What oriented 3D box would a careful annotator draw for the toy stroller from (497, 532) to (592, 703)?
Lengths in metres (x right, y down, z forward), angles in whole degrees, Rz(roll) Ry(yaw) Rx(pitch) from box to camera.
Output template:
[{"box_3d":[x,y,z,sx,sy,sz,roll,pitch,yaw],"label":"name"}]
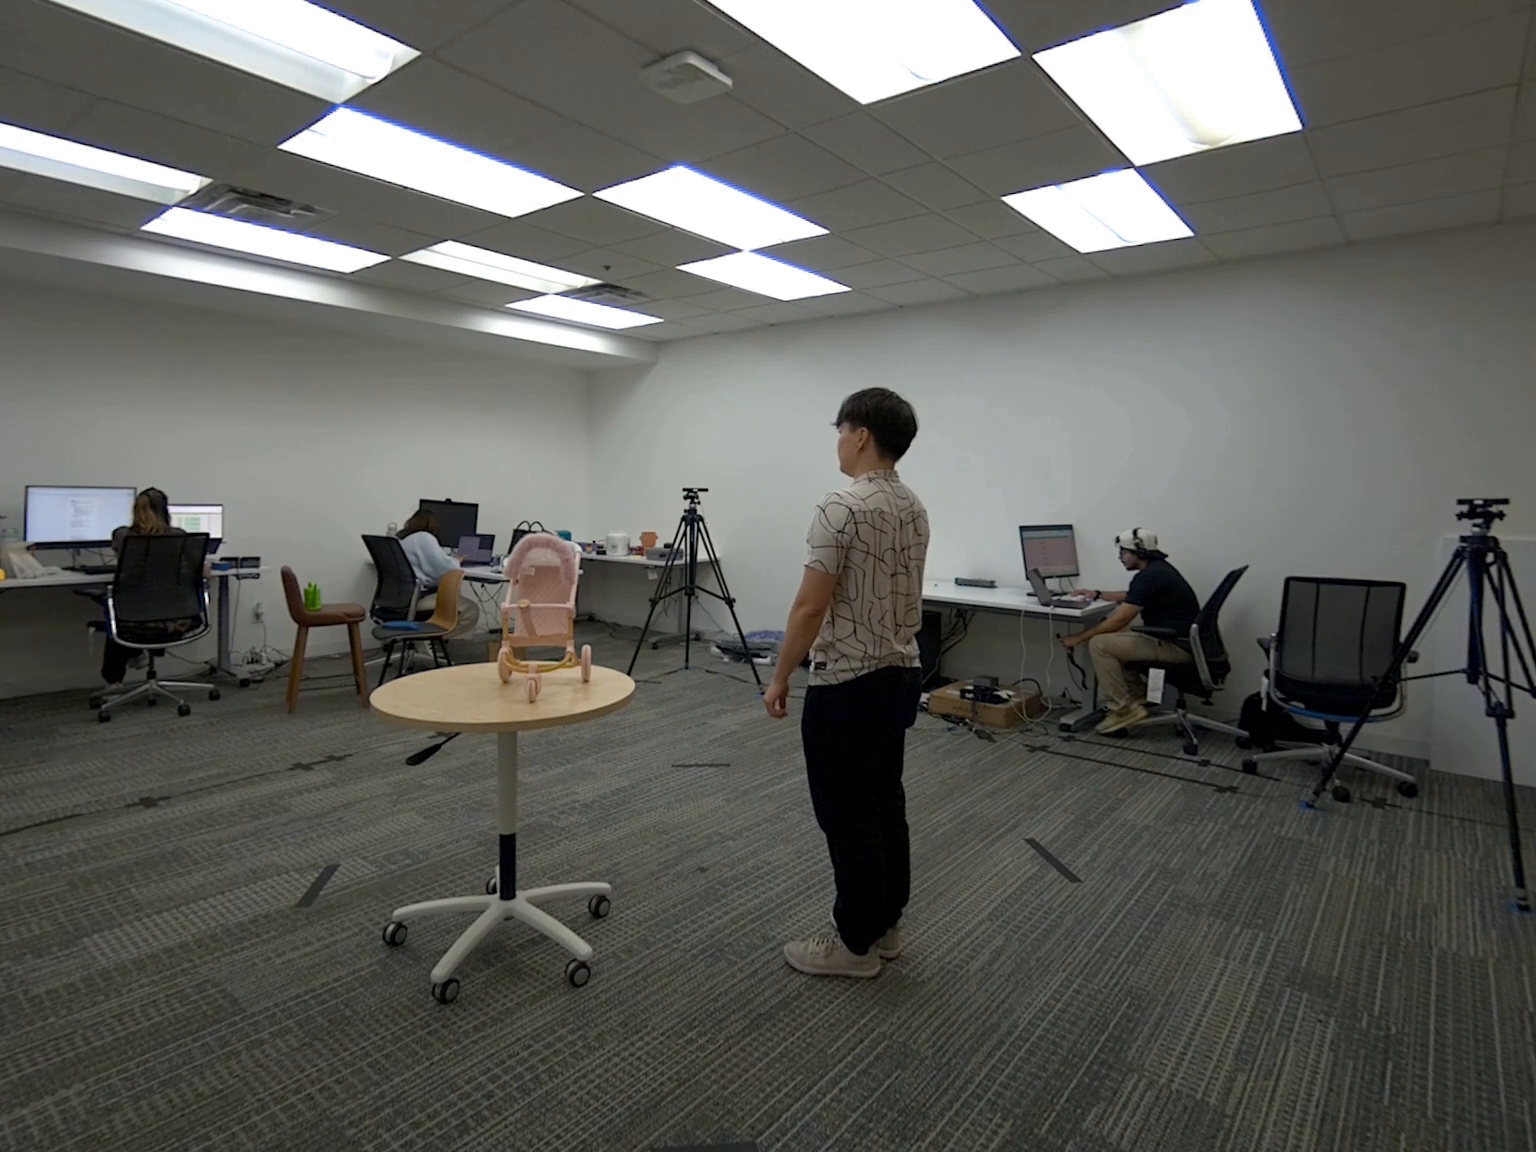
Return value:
[{"box_3d":[-0.695,0.108,2.564,0.281,0.542,0.337,0,-13,-1],"label":"toy stroller"}]
